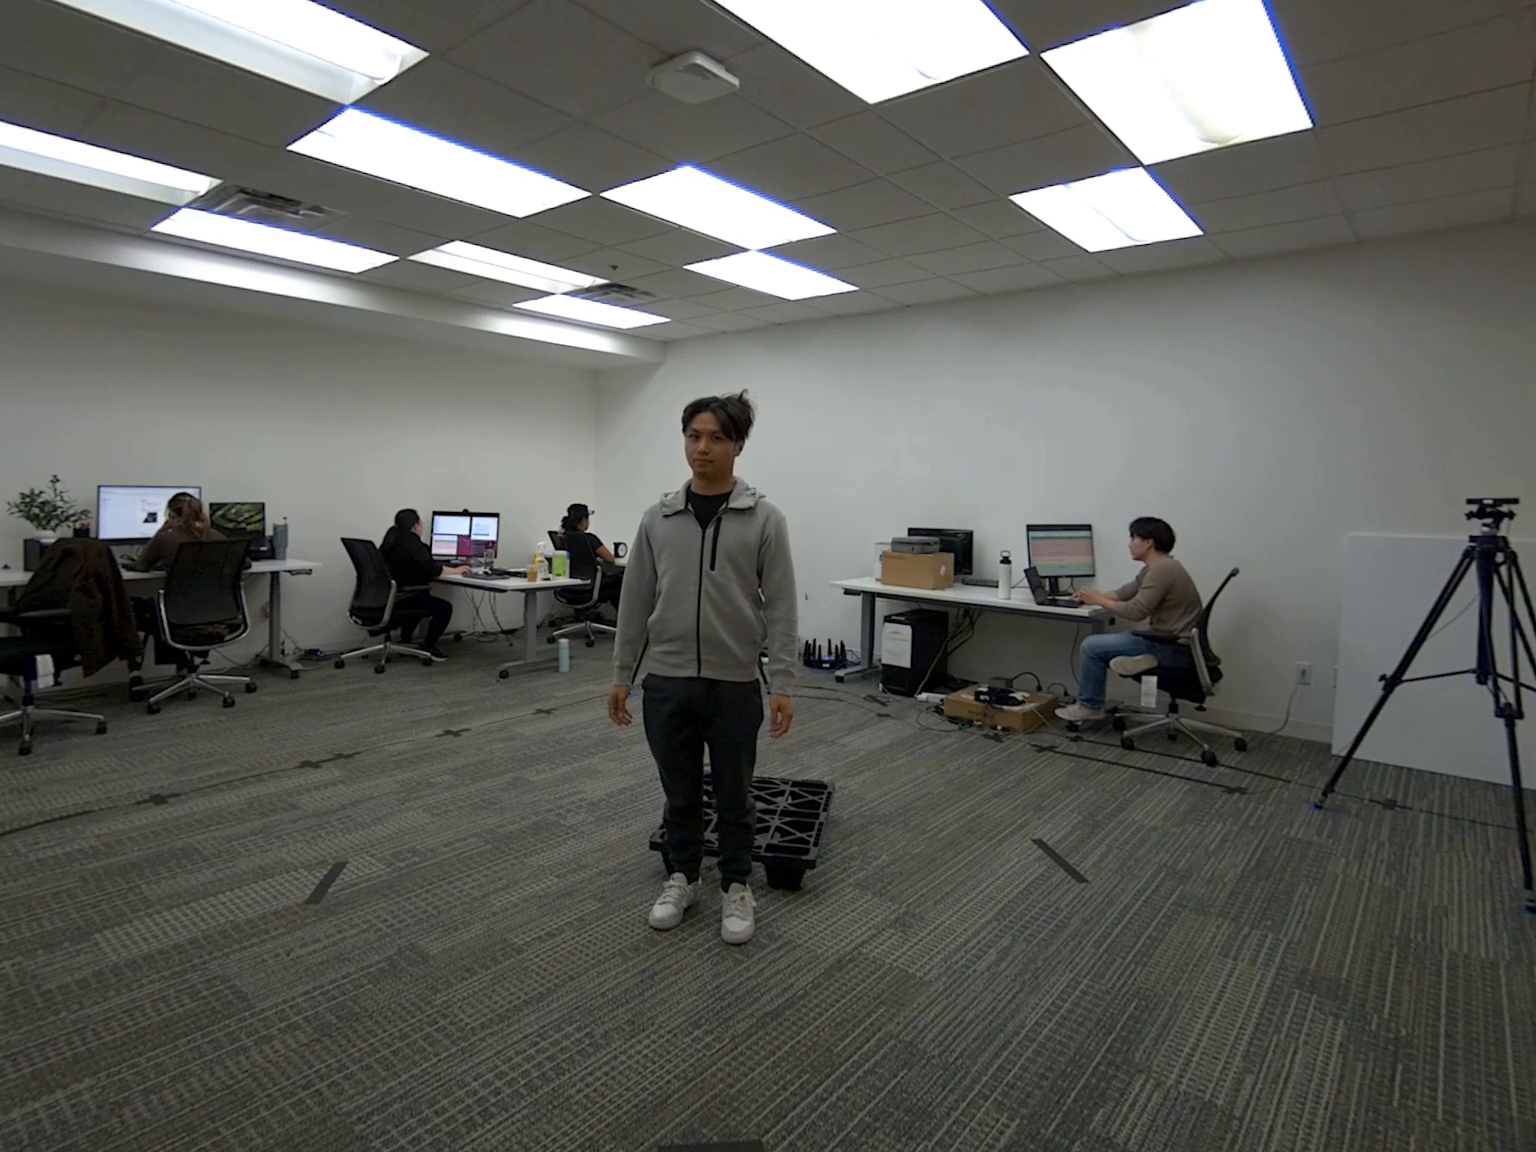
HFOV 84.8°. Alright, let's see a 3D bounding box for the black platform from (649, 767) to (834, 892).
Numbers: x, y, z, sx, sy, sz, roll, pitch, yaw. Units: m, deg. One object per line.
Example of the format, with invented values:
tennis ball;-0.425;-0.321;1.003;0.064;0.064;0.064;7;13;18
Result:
black platform;-0.080;0.978;3.347;0.613;0.143;0.798;2;5;10
